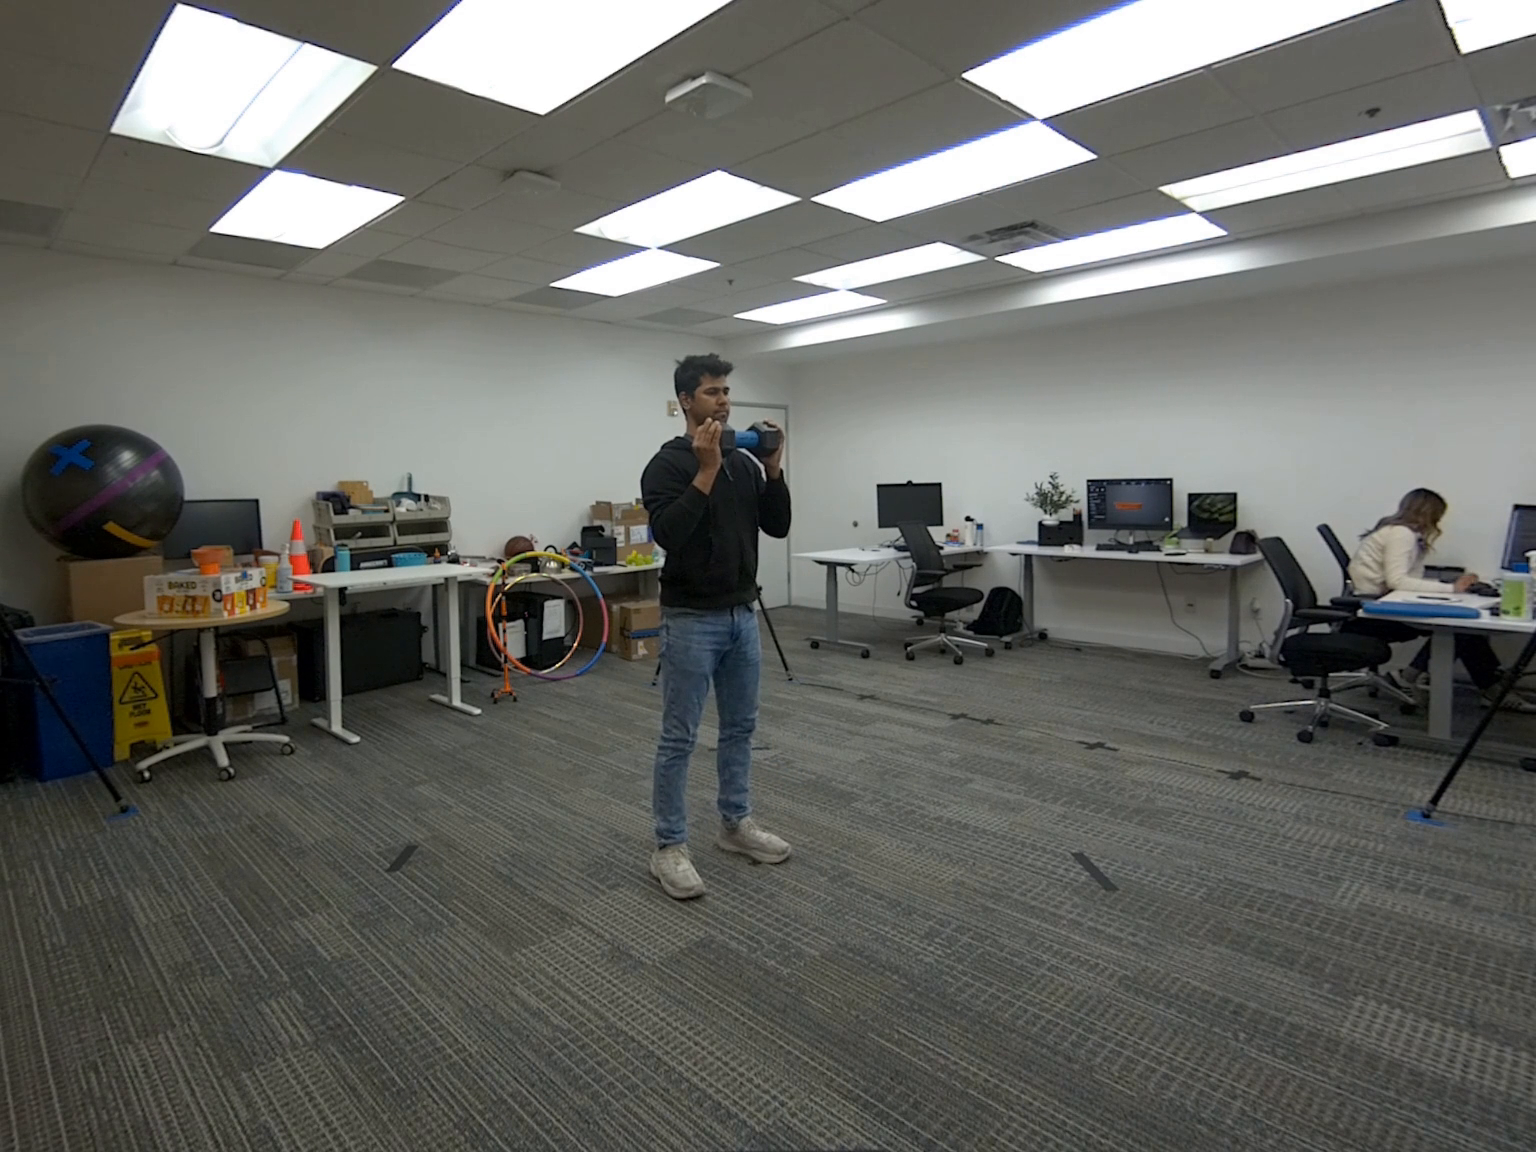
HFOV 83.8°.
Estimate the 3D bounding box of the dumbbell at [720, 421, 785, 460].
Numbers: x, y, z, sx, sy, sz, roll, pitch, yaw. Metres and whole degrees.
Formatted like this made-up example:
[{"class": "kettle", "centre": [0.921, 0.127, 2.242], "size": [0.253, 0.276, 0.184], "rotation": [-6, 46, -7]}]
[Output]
[{"class": "dumbbell", "centre": [-0.102, -0.455, 2.898], "size": [0.112, 0.122, 0.286], "rotation": [2, 8, 44]}]
